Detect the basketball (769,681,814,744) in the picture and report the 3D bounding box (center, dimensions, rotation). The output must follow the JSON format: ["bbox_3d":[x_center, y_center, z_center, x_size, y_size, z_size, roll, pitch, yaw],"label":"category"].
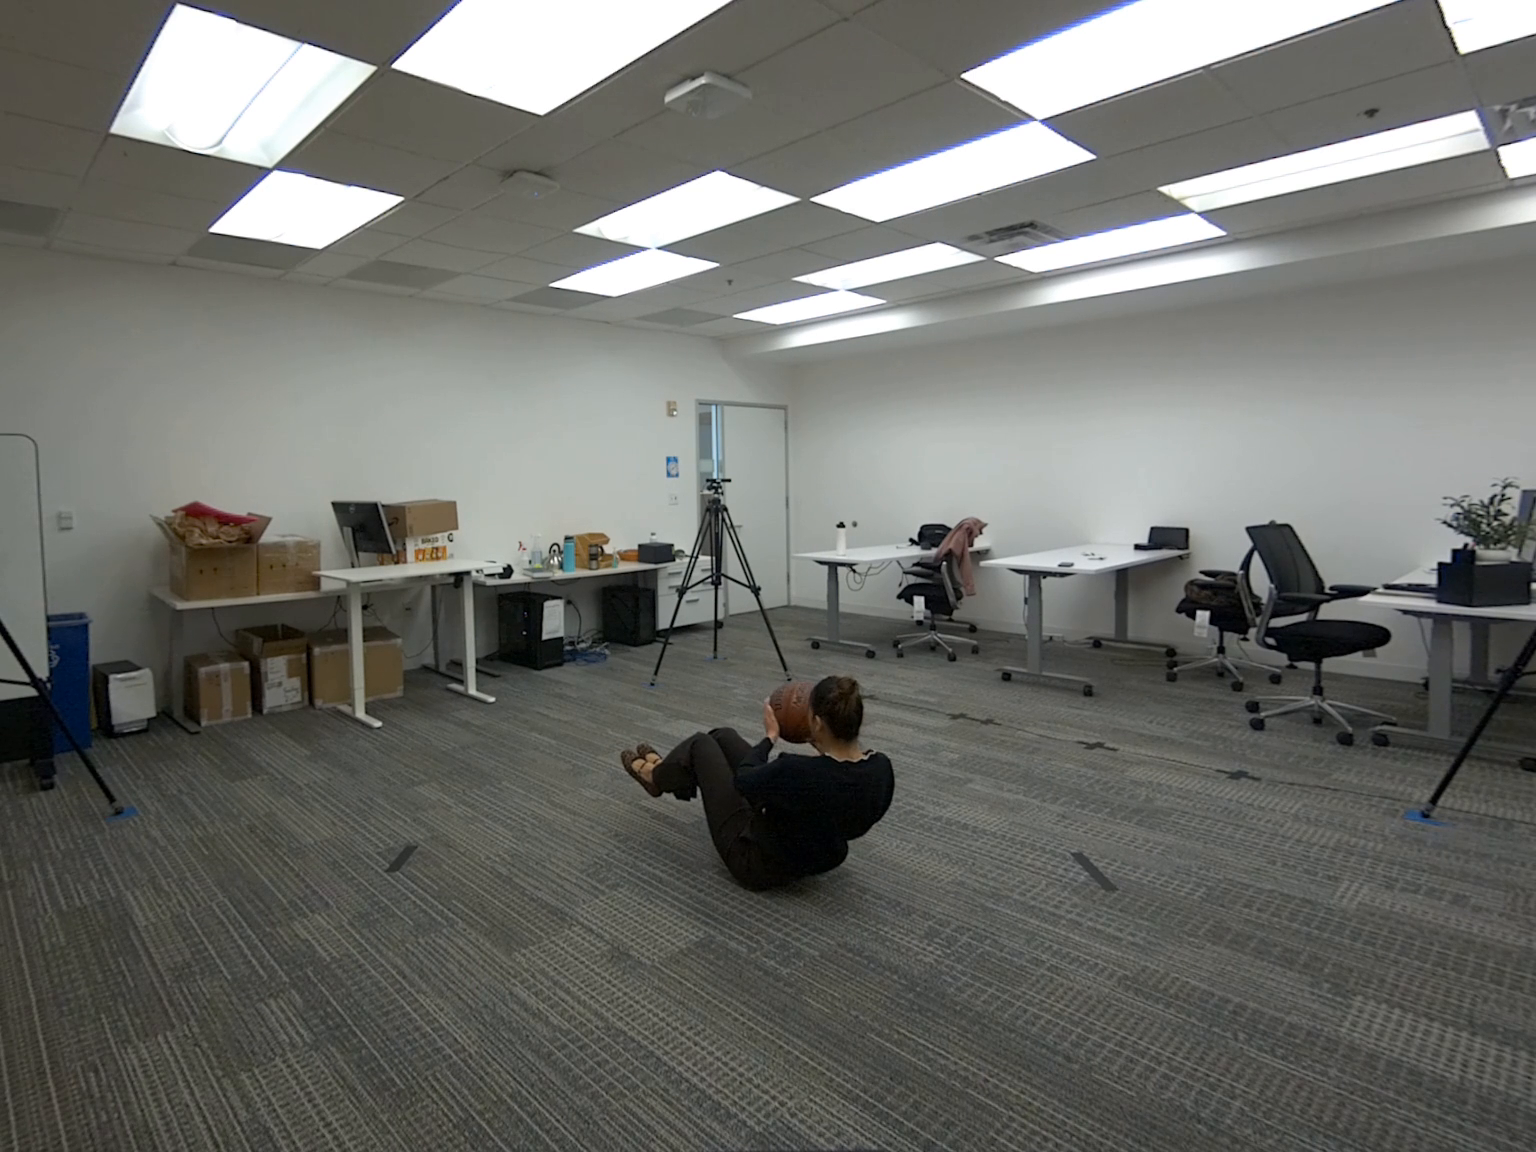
[{"bbox_3d":[0.136,0.532,3.221,0.236,0.235,0.237,-1,5,-2],"label":"basketball"}]
